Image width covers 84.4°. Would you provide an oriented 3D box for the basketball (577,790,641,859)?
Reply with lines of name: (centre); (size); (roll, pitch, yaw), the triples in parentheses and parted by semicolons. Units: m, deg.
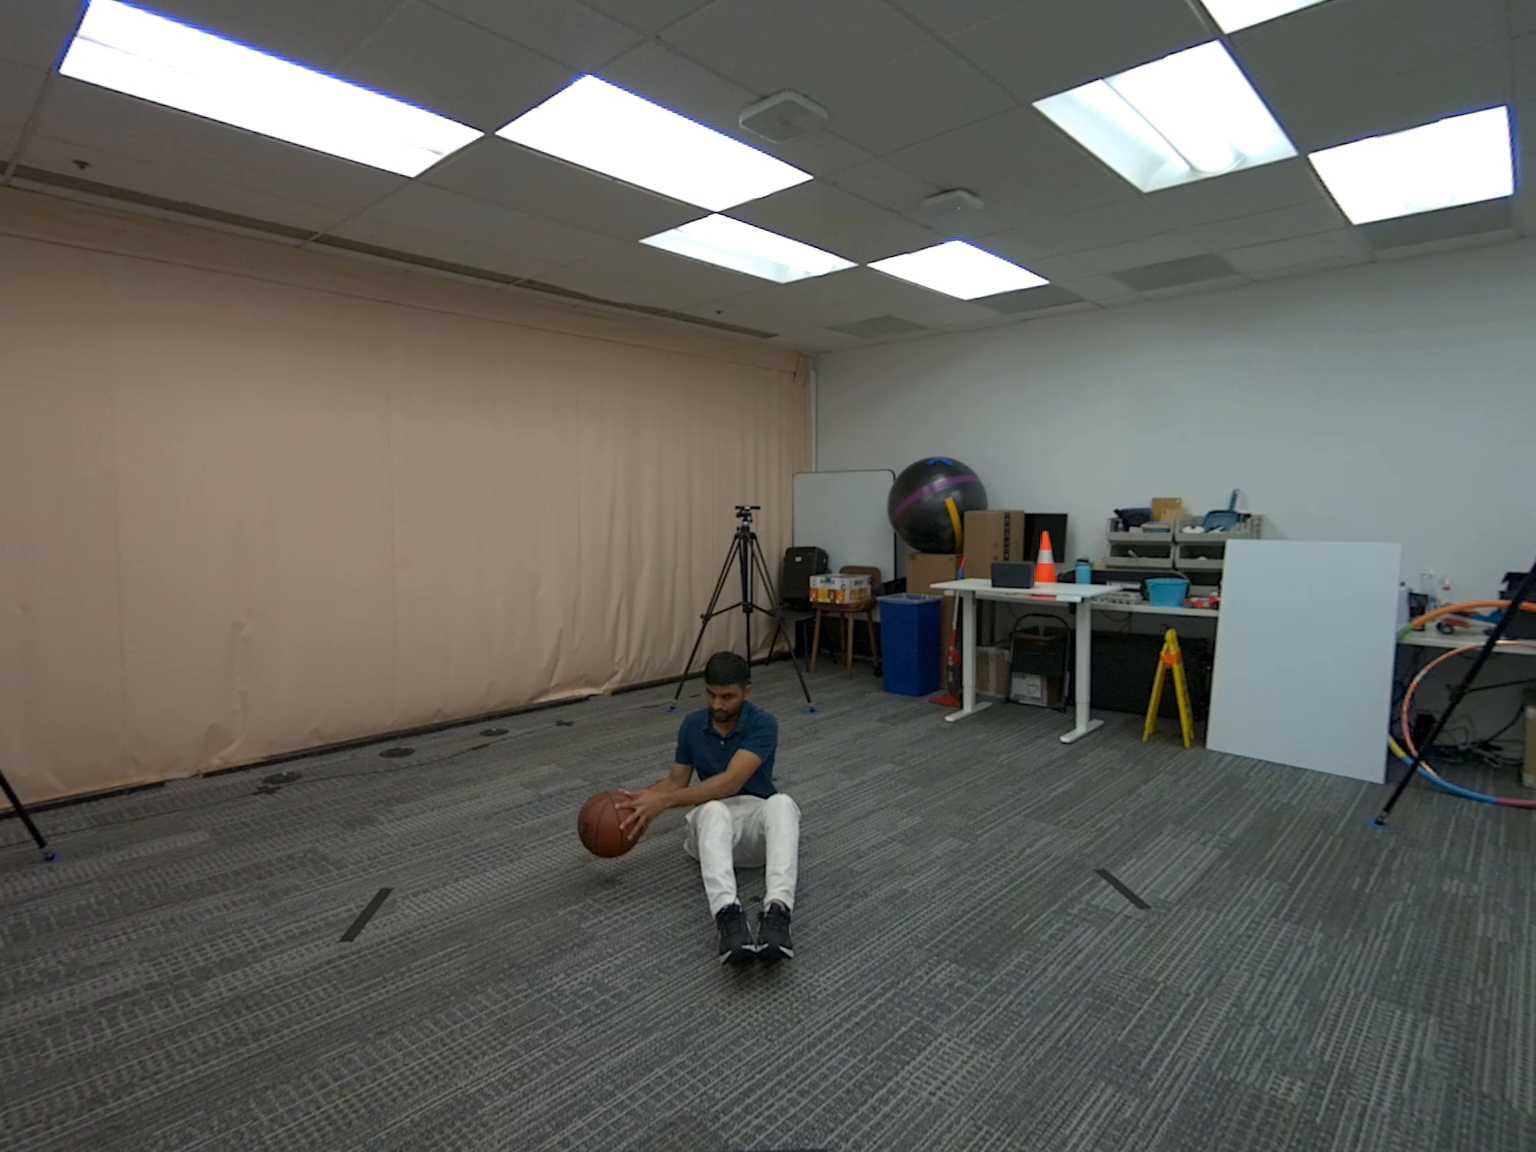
basketball: (-0.580, 0.910, 3.080); (0.236, 0.235, 0.237); (0, 4, -2)
